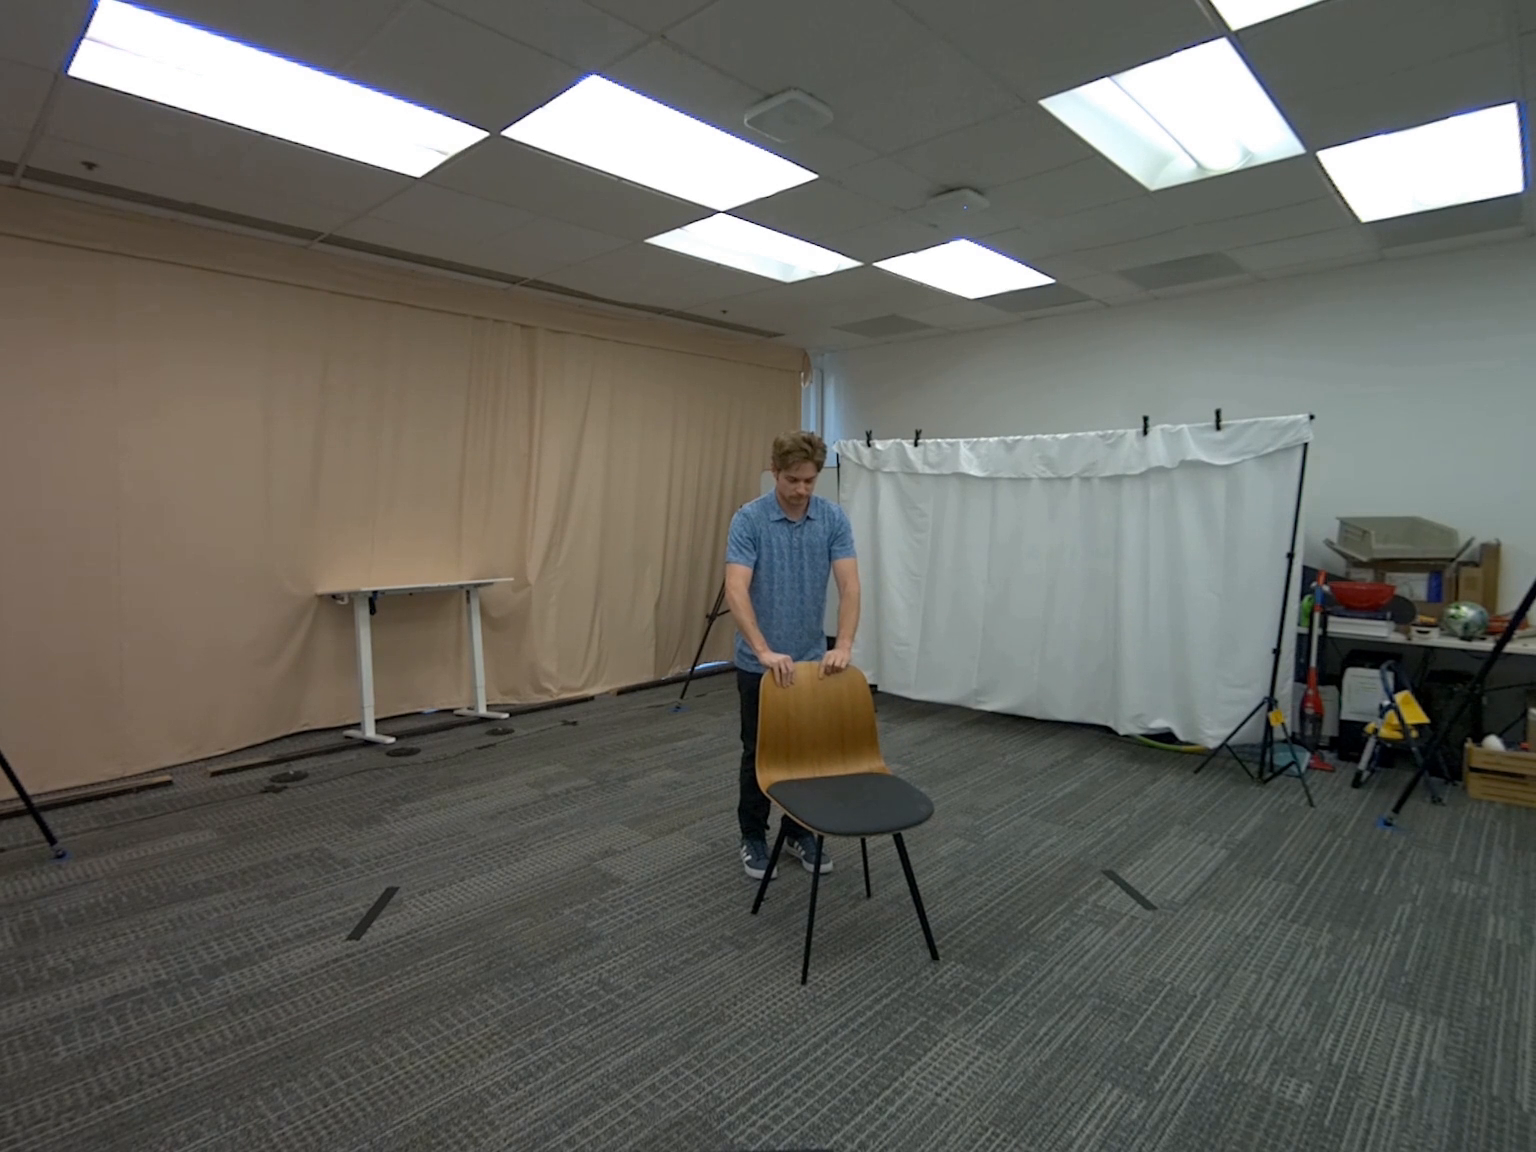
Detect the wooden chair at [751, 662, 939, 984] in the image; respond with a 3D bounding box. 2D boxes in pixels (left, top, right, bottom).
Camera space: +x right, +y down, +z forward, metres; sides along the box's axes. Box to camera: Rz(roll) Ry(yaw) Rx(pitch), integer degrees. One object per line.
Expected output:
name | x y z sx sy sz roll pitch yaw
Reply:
wooden chair | 0.241 0.735 2.686 0.469 0.878 0.533 -1 -1 -20
